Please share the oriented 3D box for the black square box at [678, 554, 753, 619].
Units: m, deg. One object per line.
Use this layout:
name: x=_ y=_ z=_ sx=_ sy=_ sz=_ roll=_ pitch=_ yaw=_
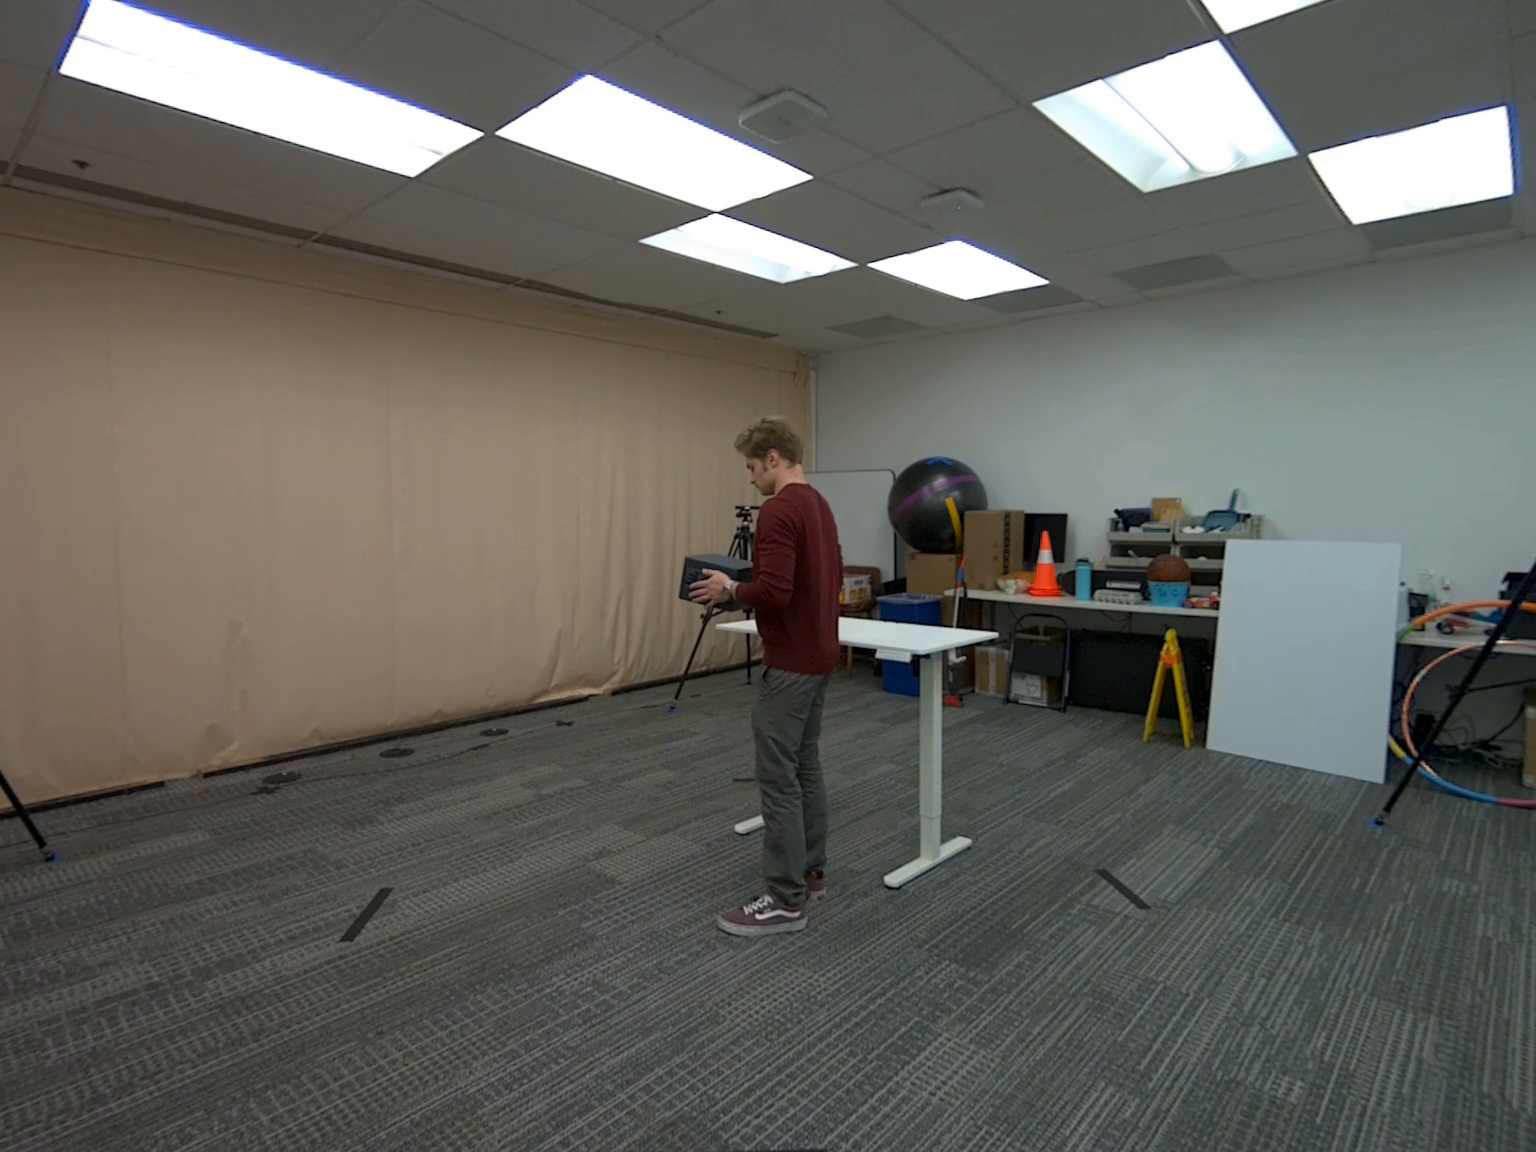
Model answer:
black square box: x=-0.165 y=0.019 z=3.053 sx=0.222 sy=0.155 sz=0.223 roll=12 pitch=9 yaw=22
